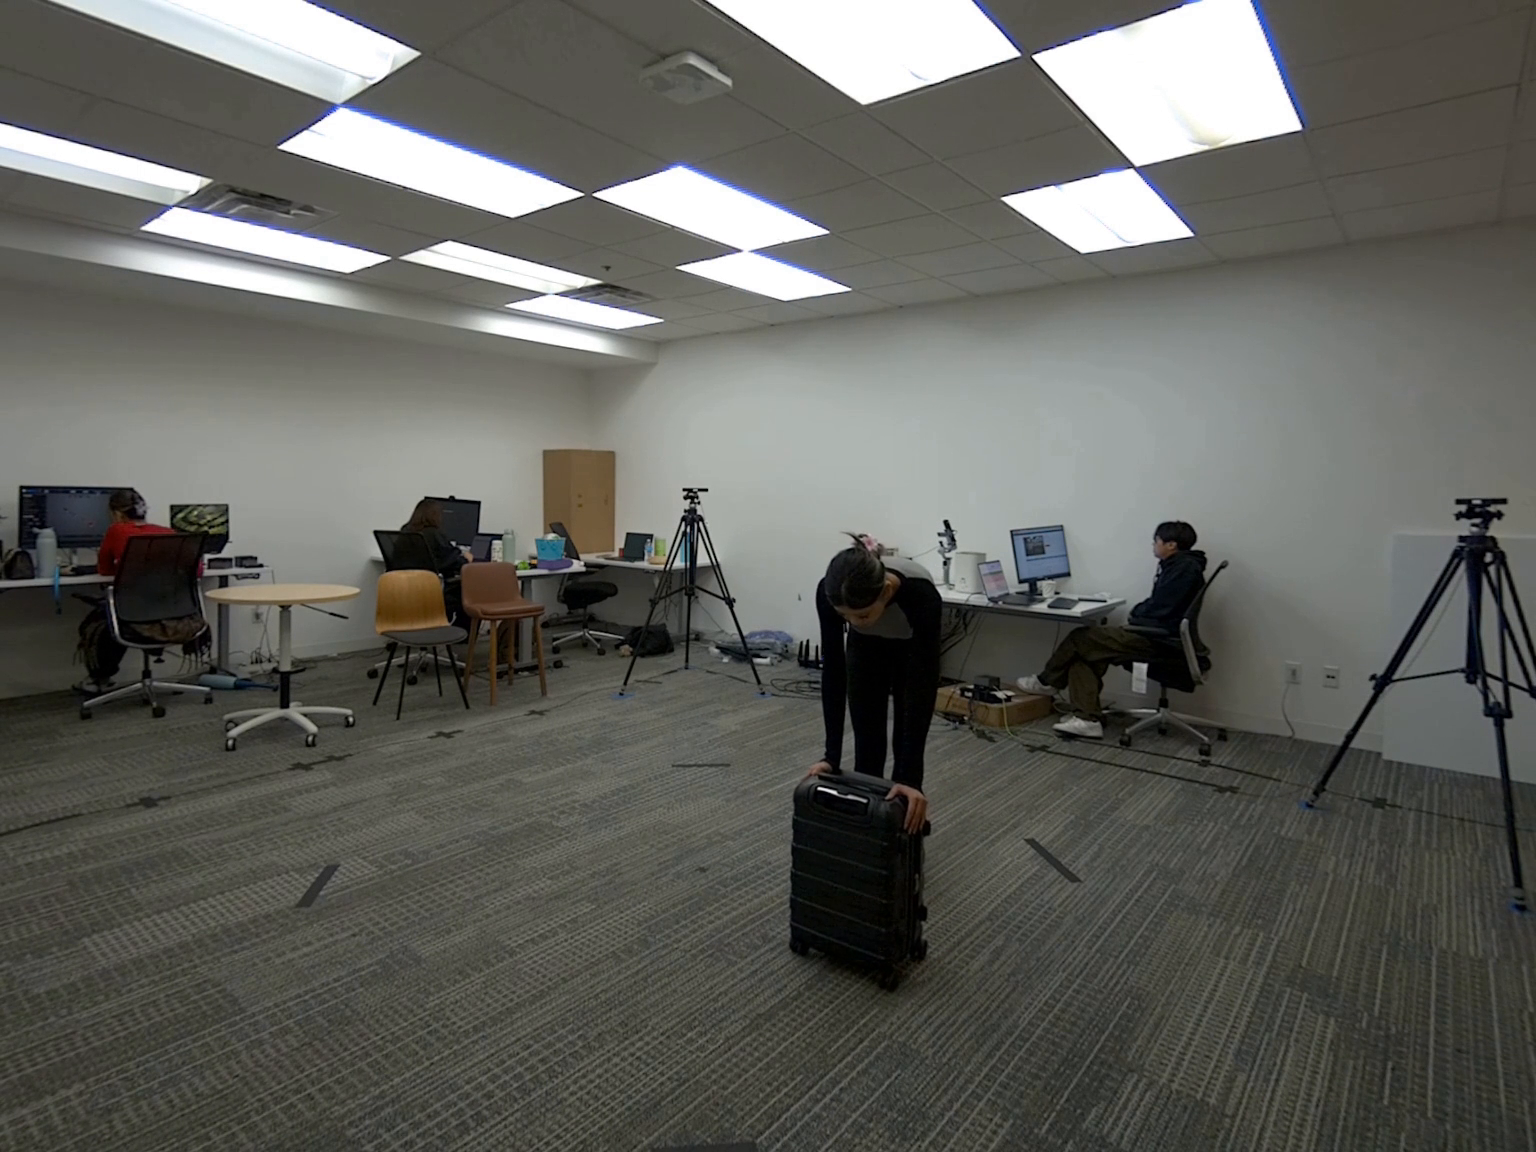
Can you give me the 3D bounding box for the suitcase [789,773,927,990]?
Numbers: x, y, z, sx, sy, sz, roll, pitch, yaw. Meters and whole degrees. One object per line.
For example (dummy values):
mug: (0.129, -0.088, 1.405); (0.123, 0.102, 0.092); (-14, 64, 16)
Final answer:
suitcase: (0.256, 0.864, 2.528); (0.387, 0.547, 0.241); (3, 6, 36)
